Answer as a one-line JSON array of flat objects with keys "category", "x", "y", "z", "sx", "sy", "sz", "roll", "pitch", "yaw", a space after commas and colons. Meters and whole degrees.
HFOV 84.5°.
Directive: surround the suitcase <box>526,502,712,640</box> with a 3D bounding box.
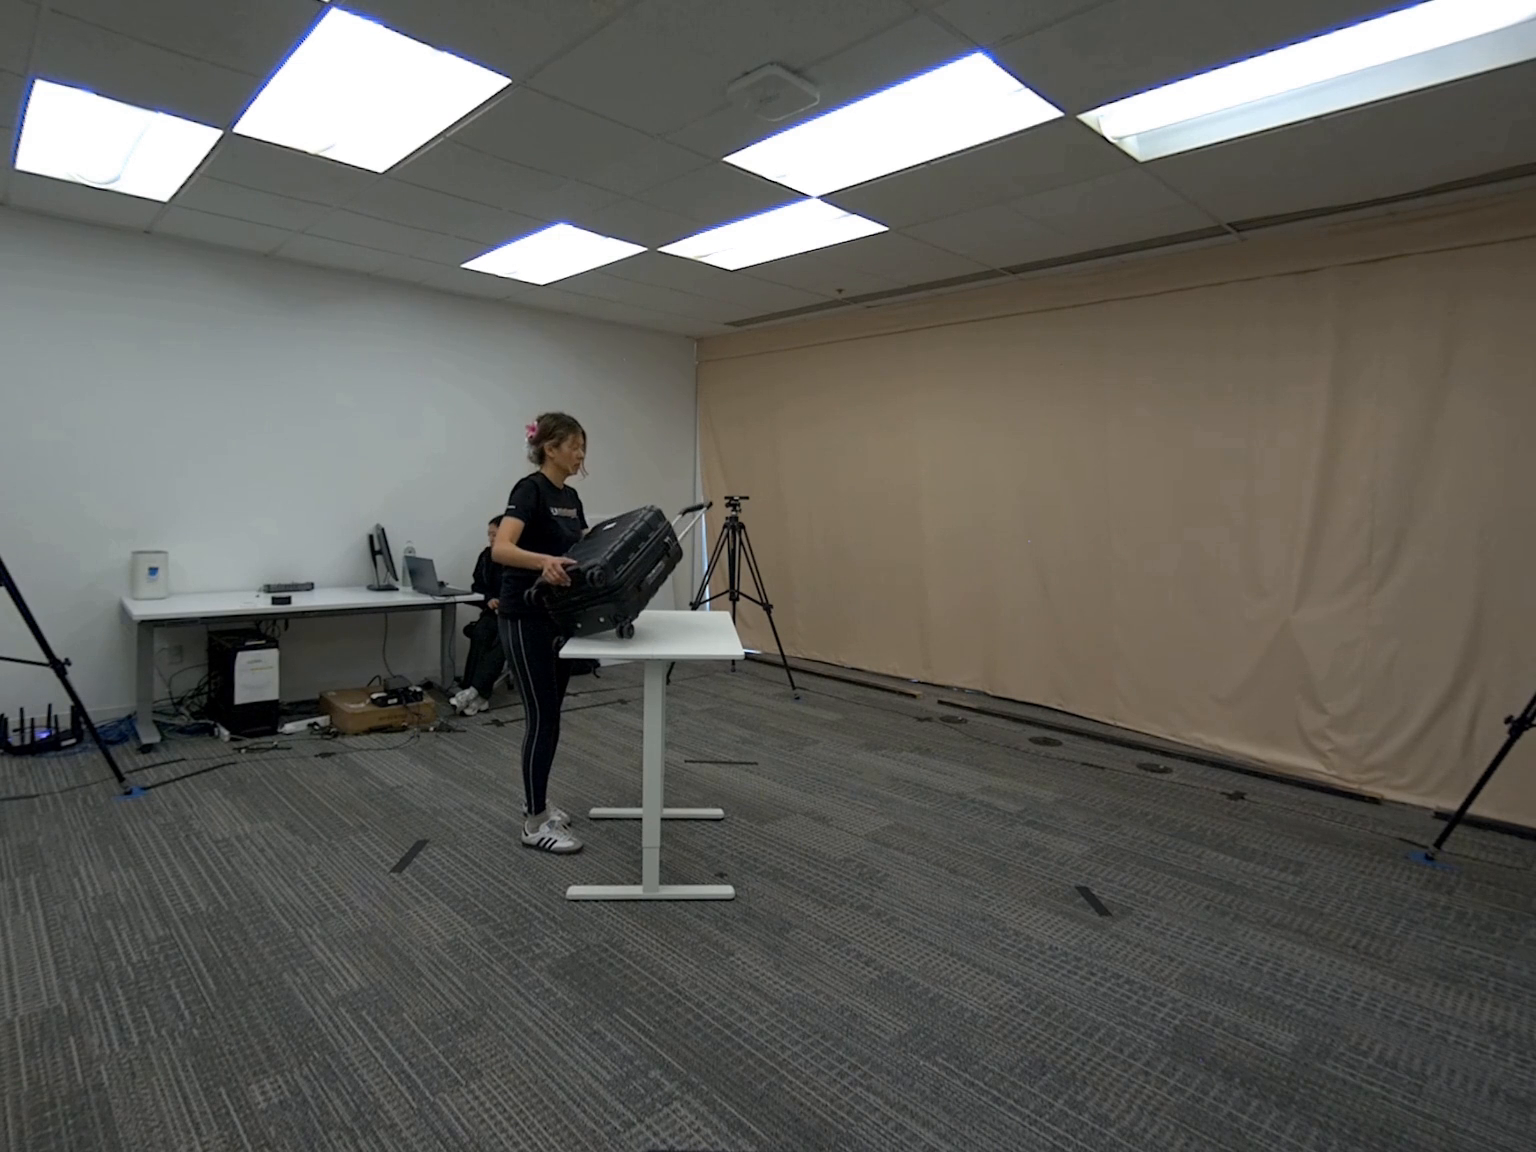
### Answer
[{"category": "suitcase", "x": -0.500, "y": -0.131, "z": 3.211, "sx": 0.390, "sy": 0.252, "sz": 0.983, "roll": -13, "pitch": 27, "yaw": 31}]
